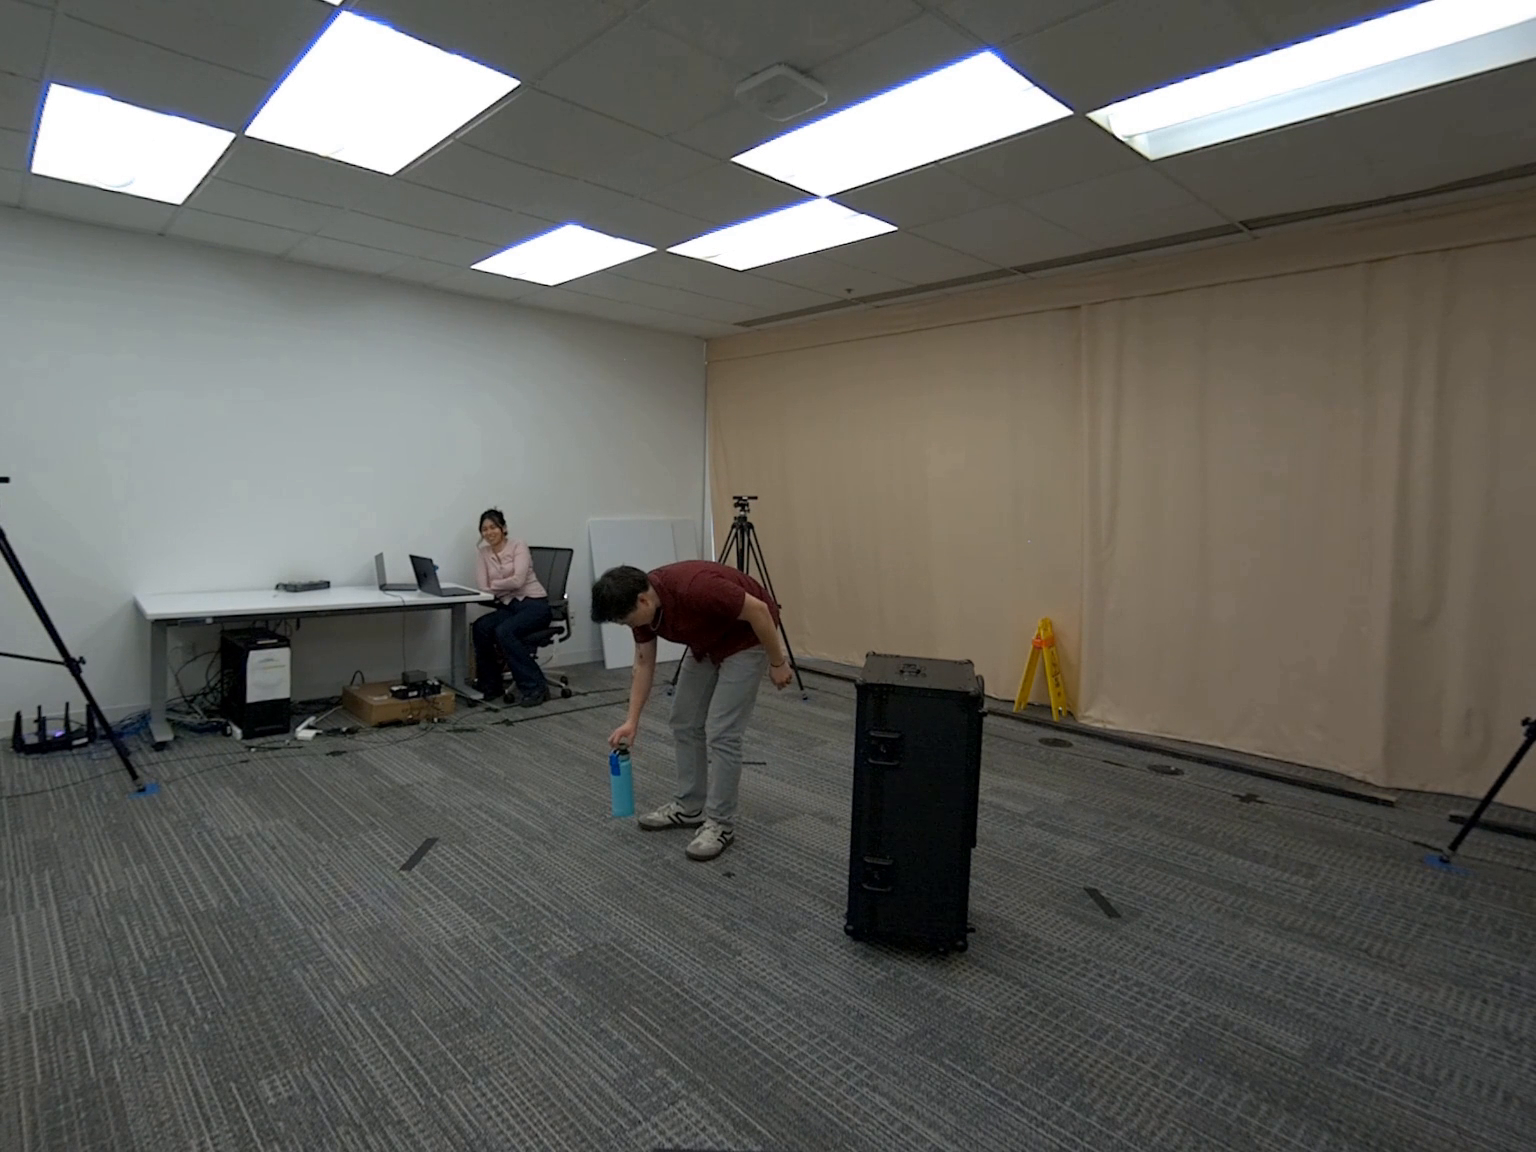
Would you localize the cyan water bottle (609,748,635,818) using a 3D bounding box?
[{"bbox_3d":[-0.585,0.820,3.381,0.092,0.282,0.093,-1,8,-1],"label":"cyan water bottle"}]
